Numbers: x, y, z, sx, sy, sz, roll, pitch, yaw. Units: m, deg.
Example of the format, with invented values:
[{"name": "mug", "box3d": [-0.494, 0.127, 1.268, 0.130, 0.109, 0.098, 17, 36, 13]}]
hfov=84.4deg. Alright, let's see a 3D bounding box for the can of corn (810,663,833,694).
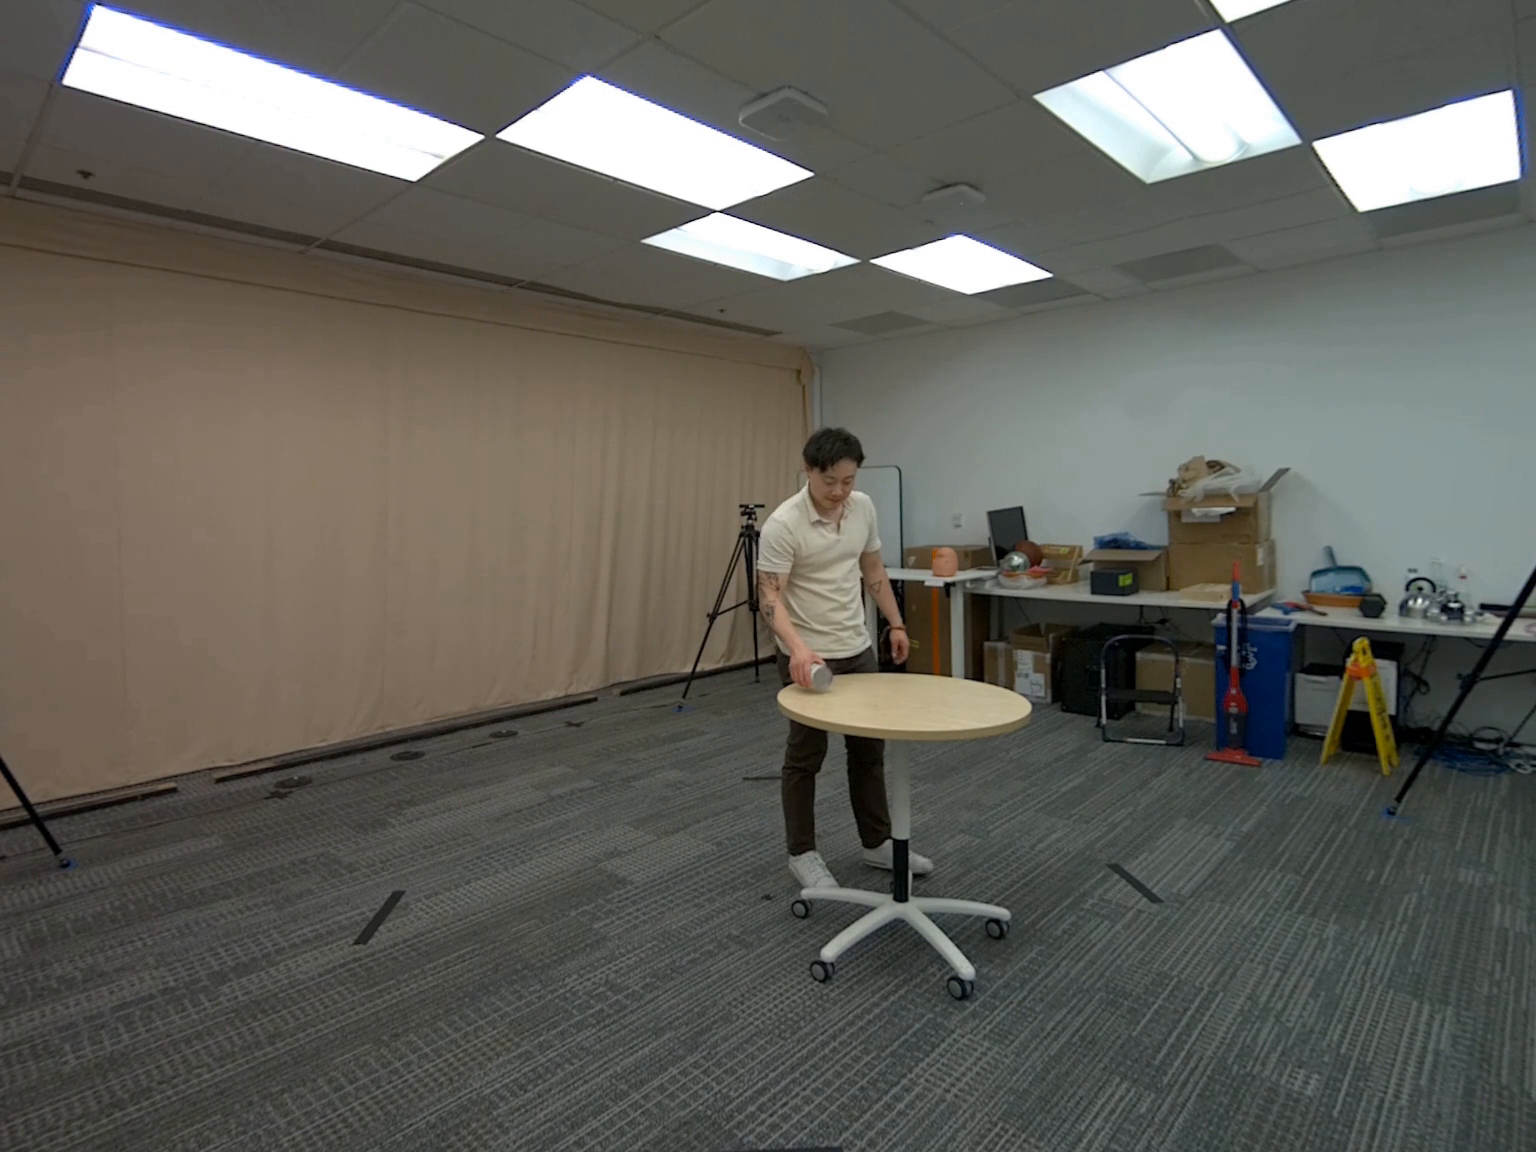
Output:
[{"name": "can of corn", "box3d": [0.156, 0.319, 2.716, 0.072, 0.074, 0.114, -2, 5, -24]}]
